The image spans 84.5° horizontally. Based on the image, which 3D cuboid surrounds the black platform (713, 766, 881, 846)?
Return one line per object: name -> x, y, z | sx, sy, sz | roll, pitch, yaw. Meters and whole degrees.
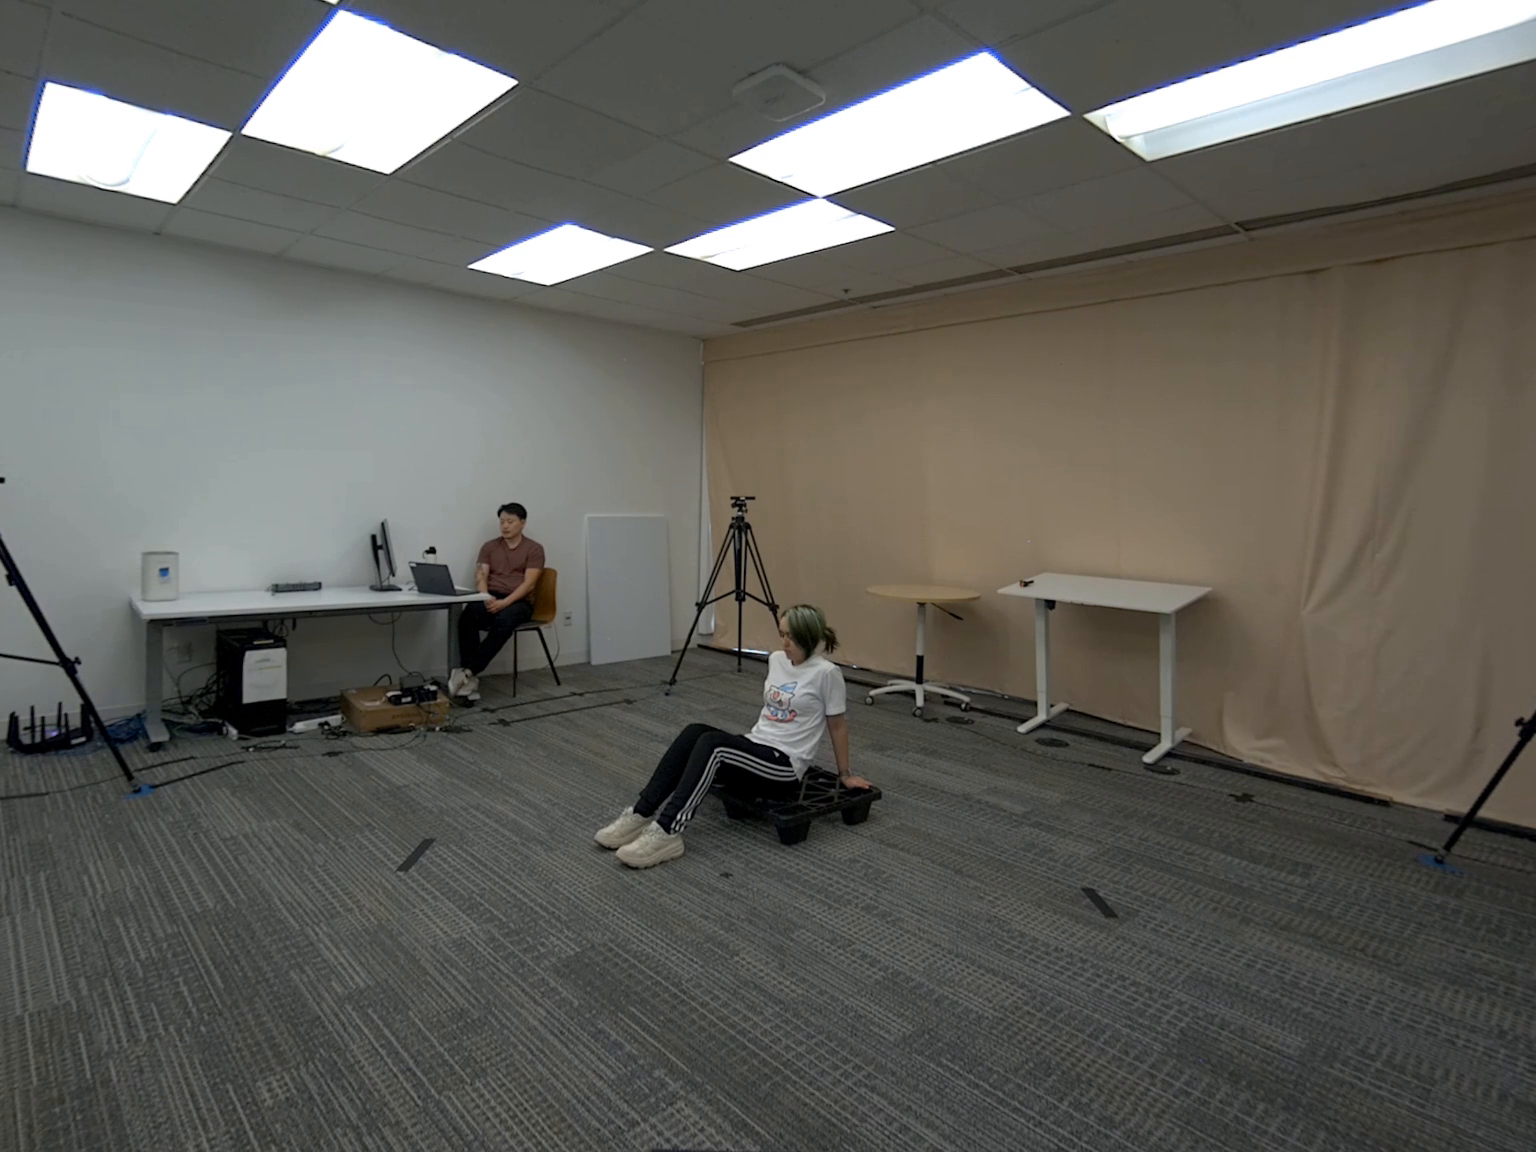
black platform -> 0.011, 0.980, 3.804 | 0.592, 0.143, 0.826 | -3, 6, -40
